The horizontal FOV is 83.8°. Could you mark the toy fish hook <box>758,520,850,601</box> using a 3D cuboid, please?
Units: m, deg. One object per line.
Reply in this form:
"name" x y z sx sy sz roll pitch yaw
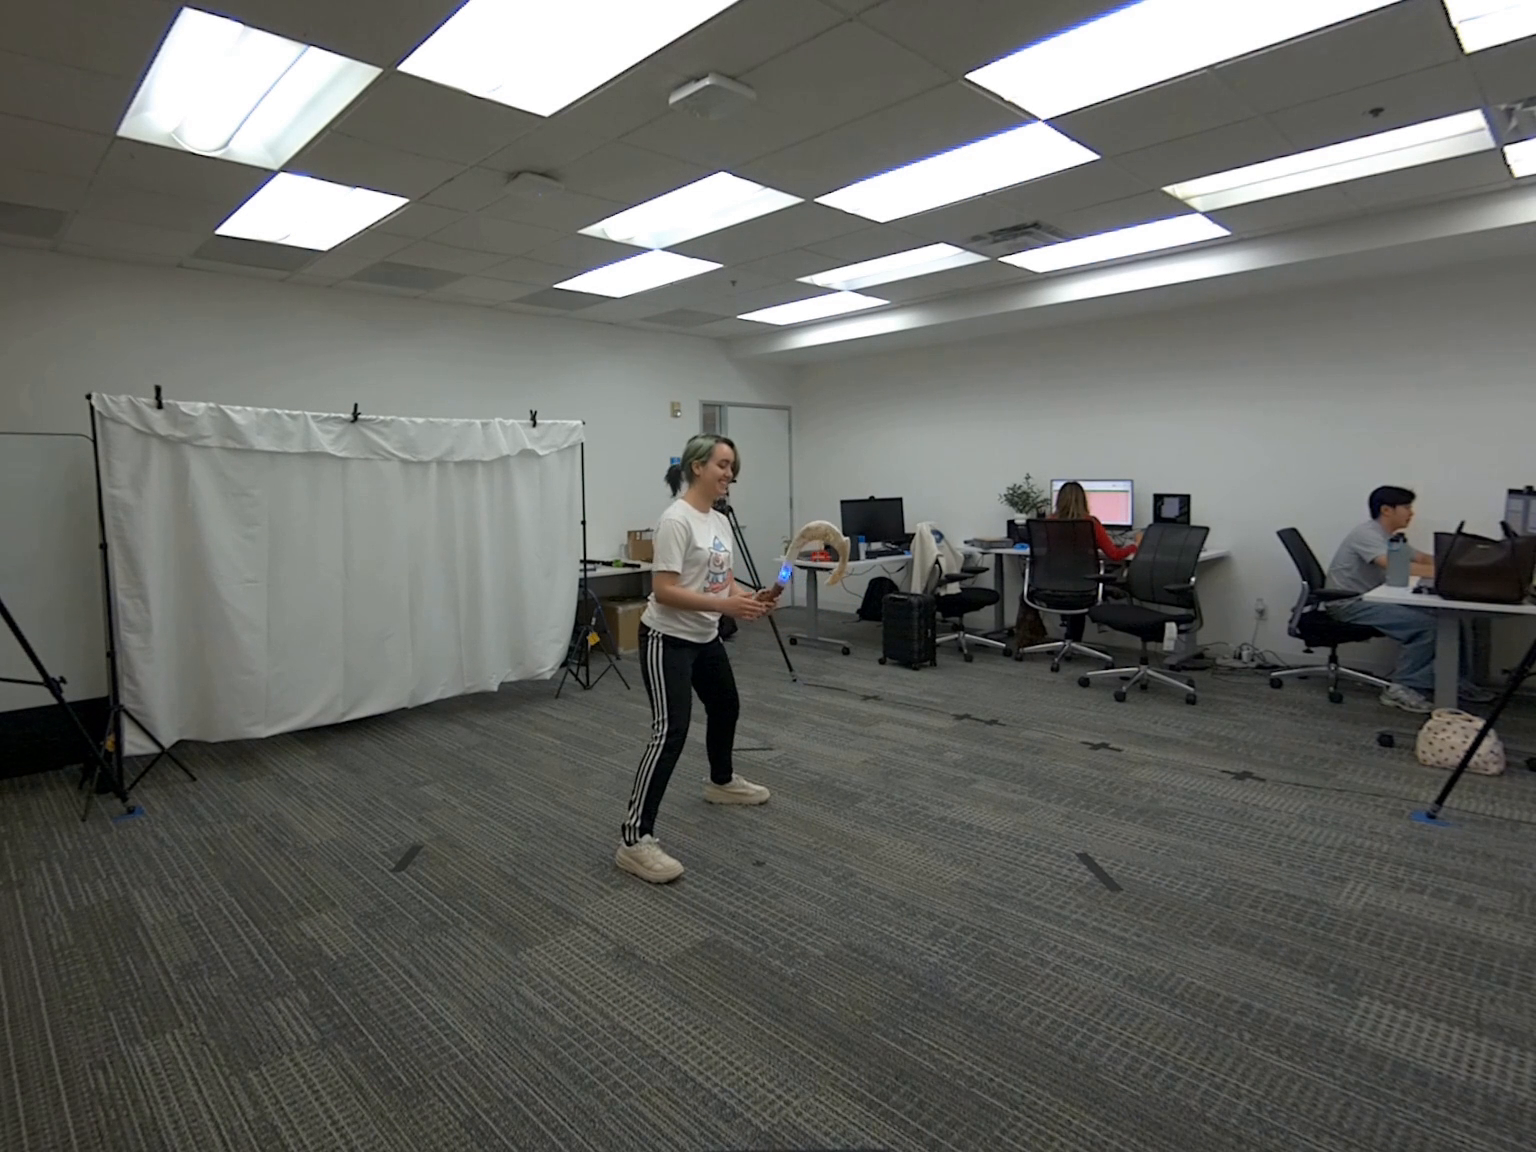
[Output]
"toy fish hook" 0.111 0.026 3.146 0.229 0.505 0.047 44 25 14
